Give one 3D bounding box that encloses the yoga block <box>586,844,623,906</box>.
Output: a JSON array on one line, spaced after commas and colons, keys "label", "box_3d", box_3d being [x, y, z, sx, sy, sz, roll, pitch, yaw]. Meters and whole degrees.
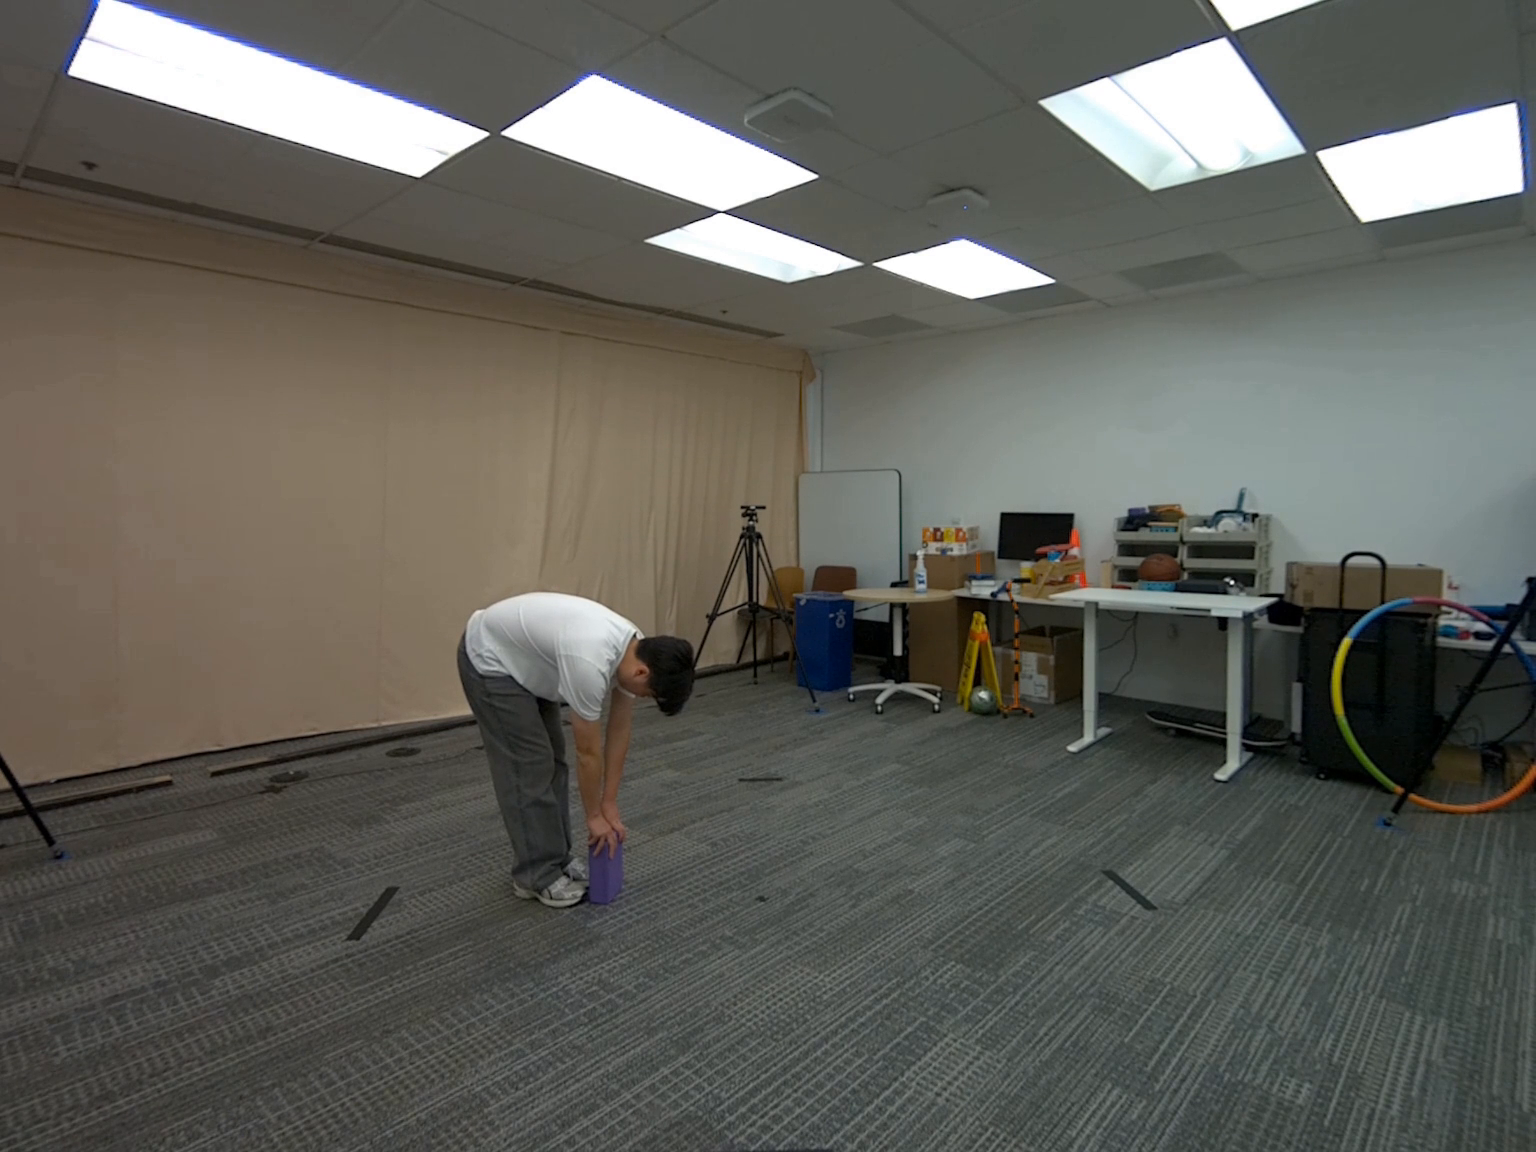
[{"label": "yoga block", "box_3d": [-0.573, 1.045, 2.999, 0.077, 0.229, 0.148, 0, 4, 6]}]
